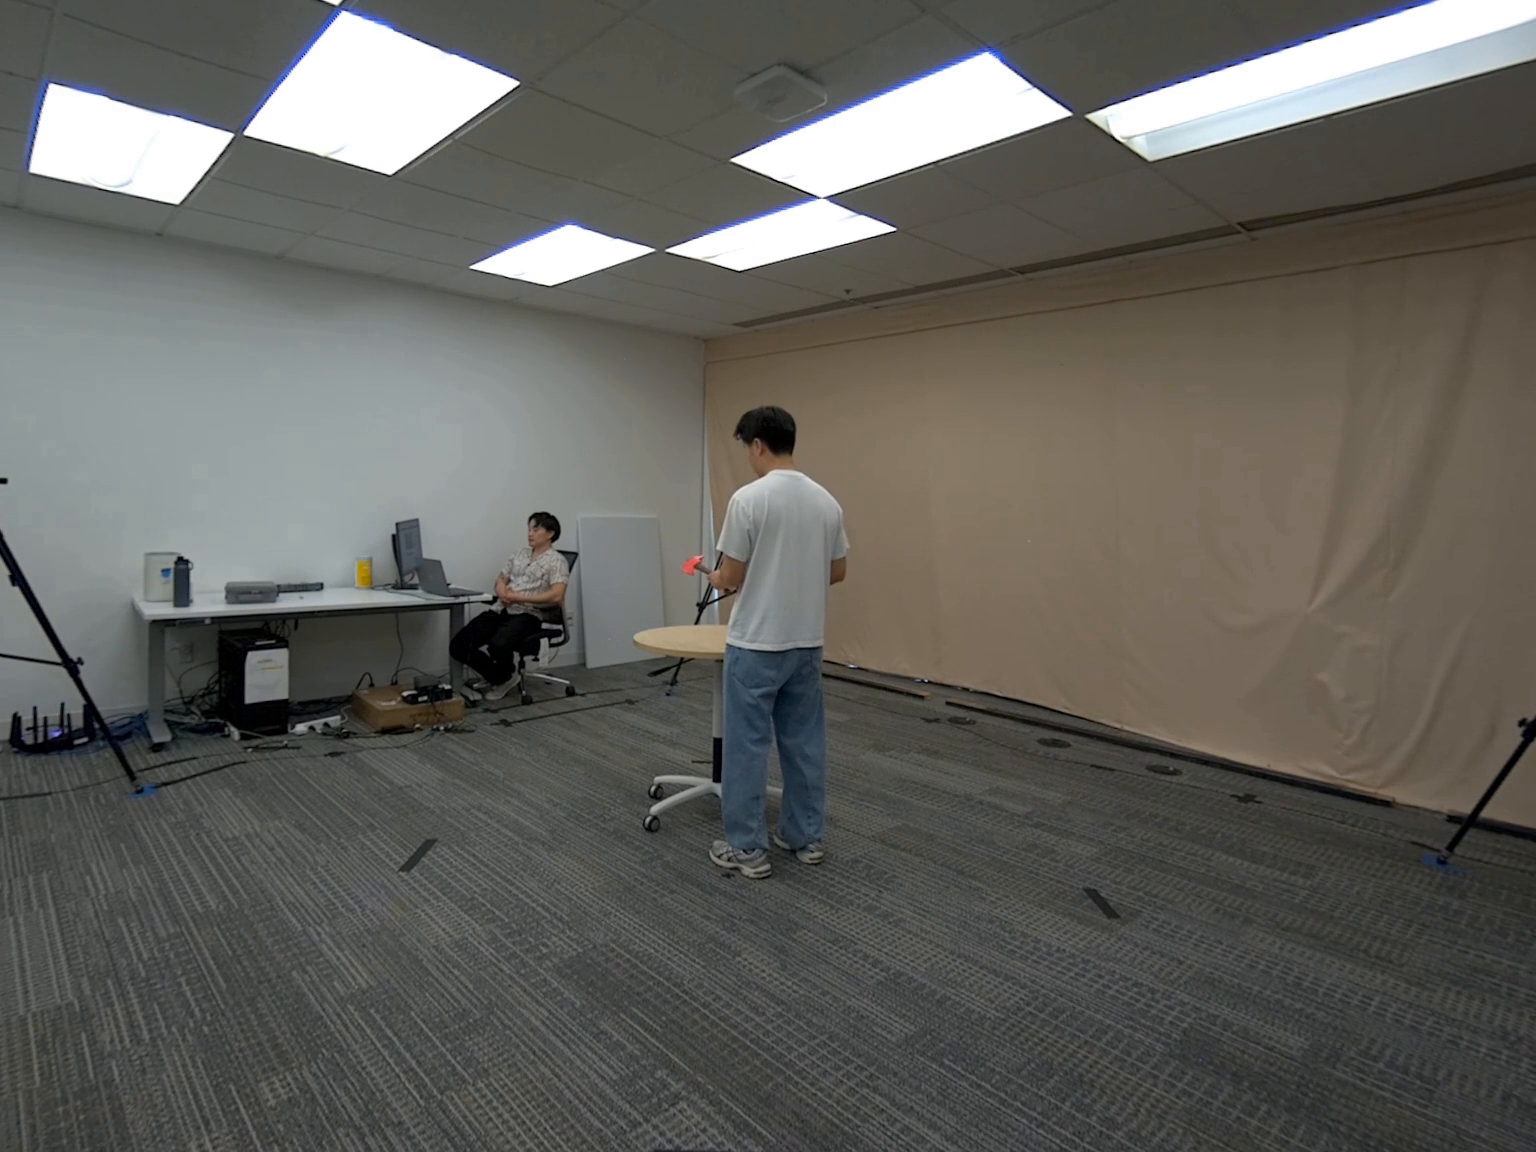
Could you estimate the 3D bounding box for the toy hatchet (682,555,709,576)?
[{"bbox_3d":[-0.253,0.012,3.417,0.129,0.029,0.279,-17,43,-28],"label":"toy hatchet"}]
